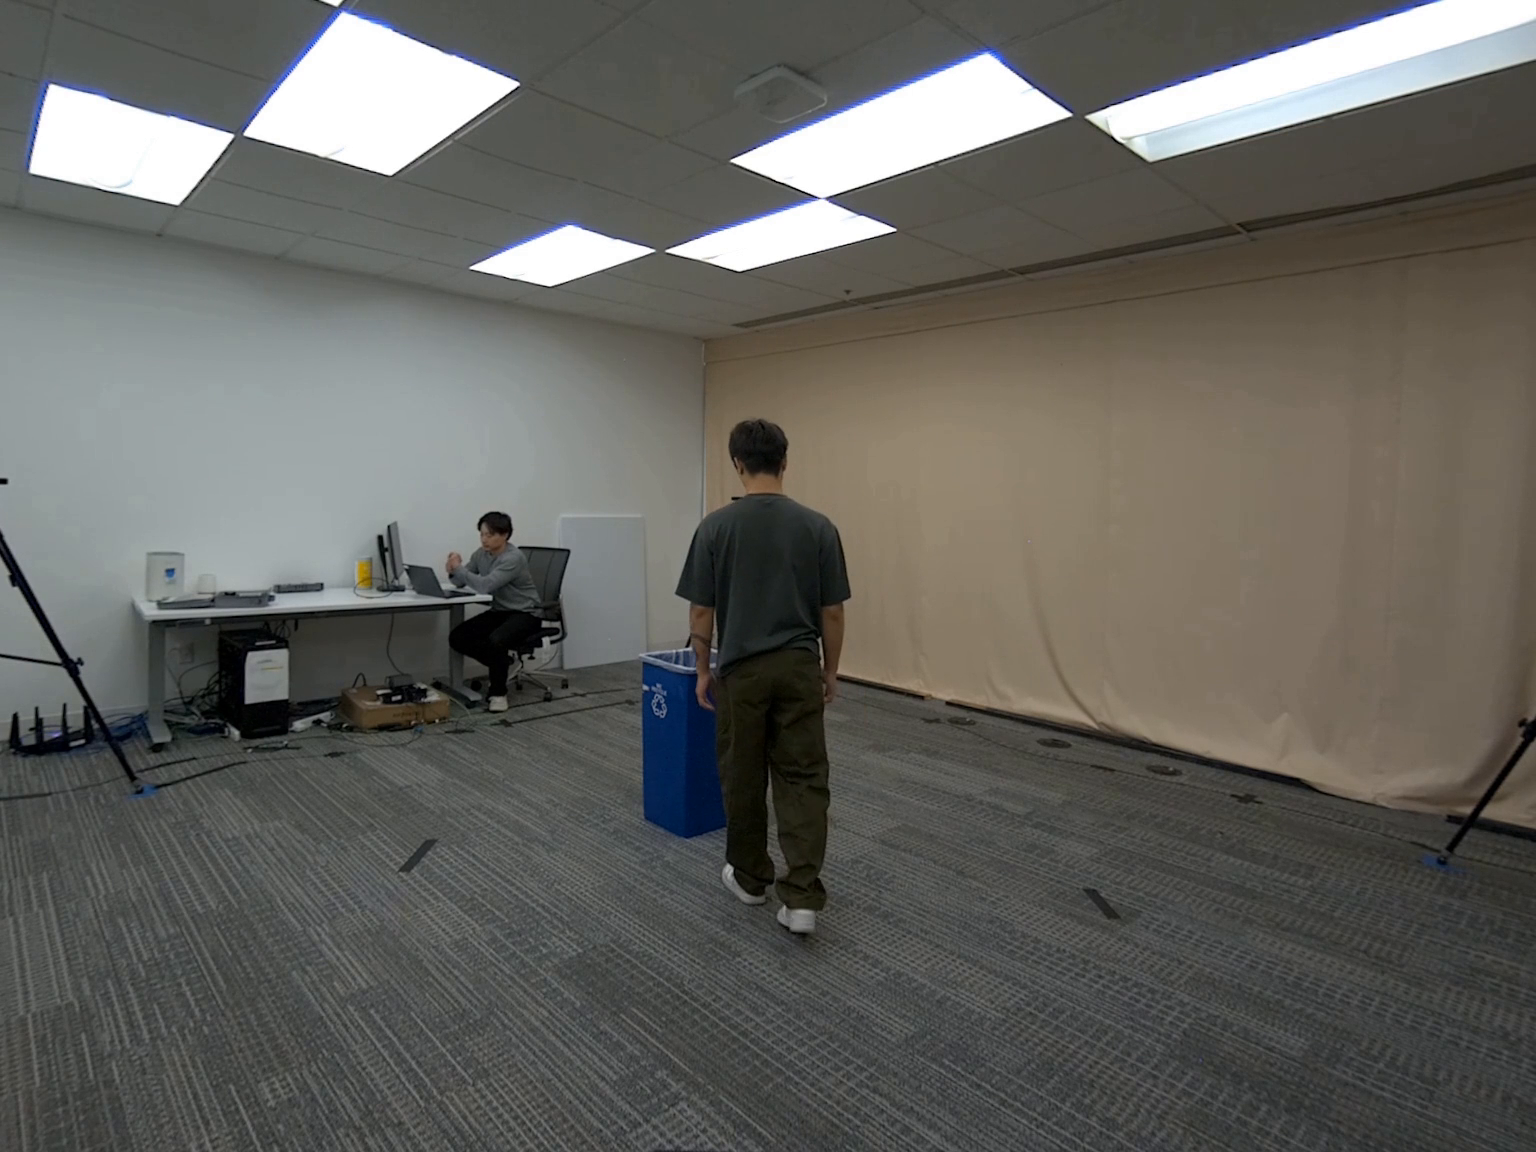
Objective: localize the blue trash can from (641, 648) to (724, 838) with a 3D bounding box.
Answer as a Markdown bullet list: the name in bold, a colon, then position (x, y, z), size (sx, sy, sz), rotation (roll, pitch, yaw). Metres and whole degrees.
- **blue trash can**: position (-0.322, 0.700, 3.618), size (0.369, 0.712, 0.383), rotation (-2, 4, -43)
